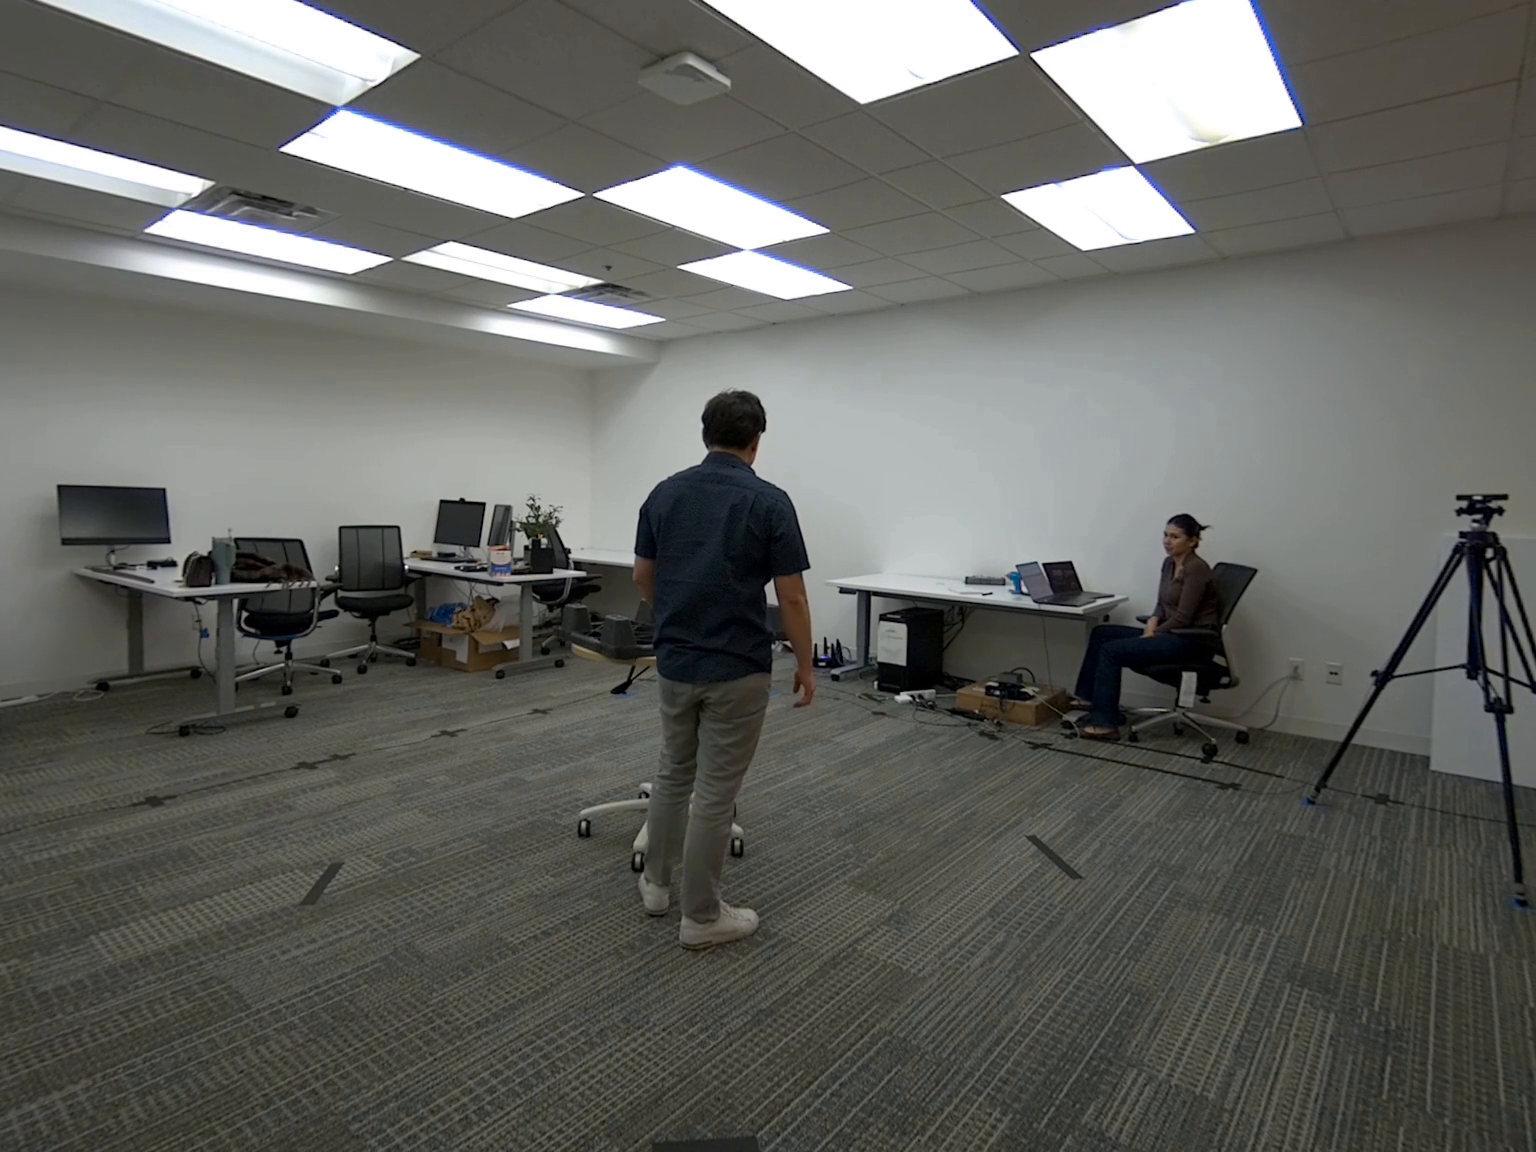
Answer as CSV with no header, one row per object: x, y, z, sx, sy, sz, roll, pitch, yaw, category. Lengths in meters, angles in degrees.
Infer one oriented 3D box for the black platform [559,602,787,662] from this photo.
-0.398,0.183,3.439,0.783,0.143,0.625,-3,7,-35,black platform
